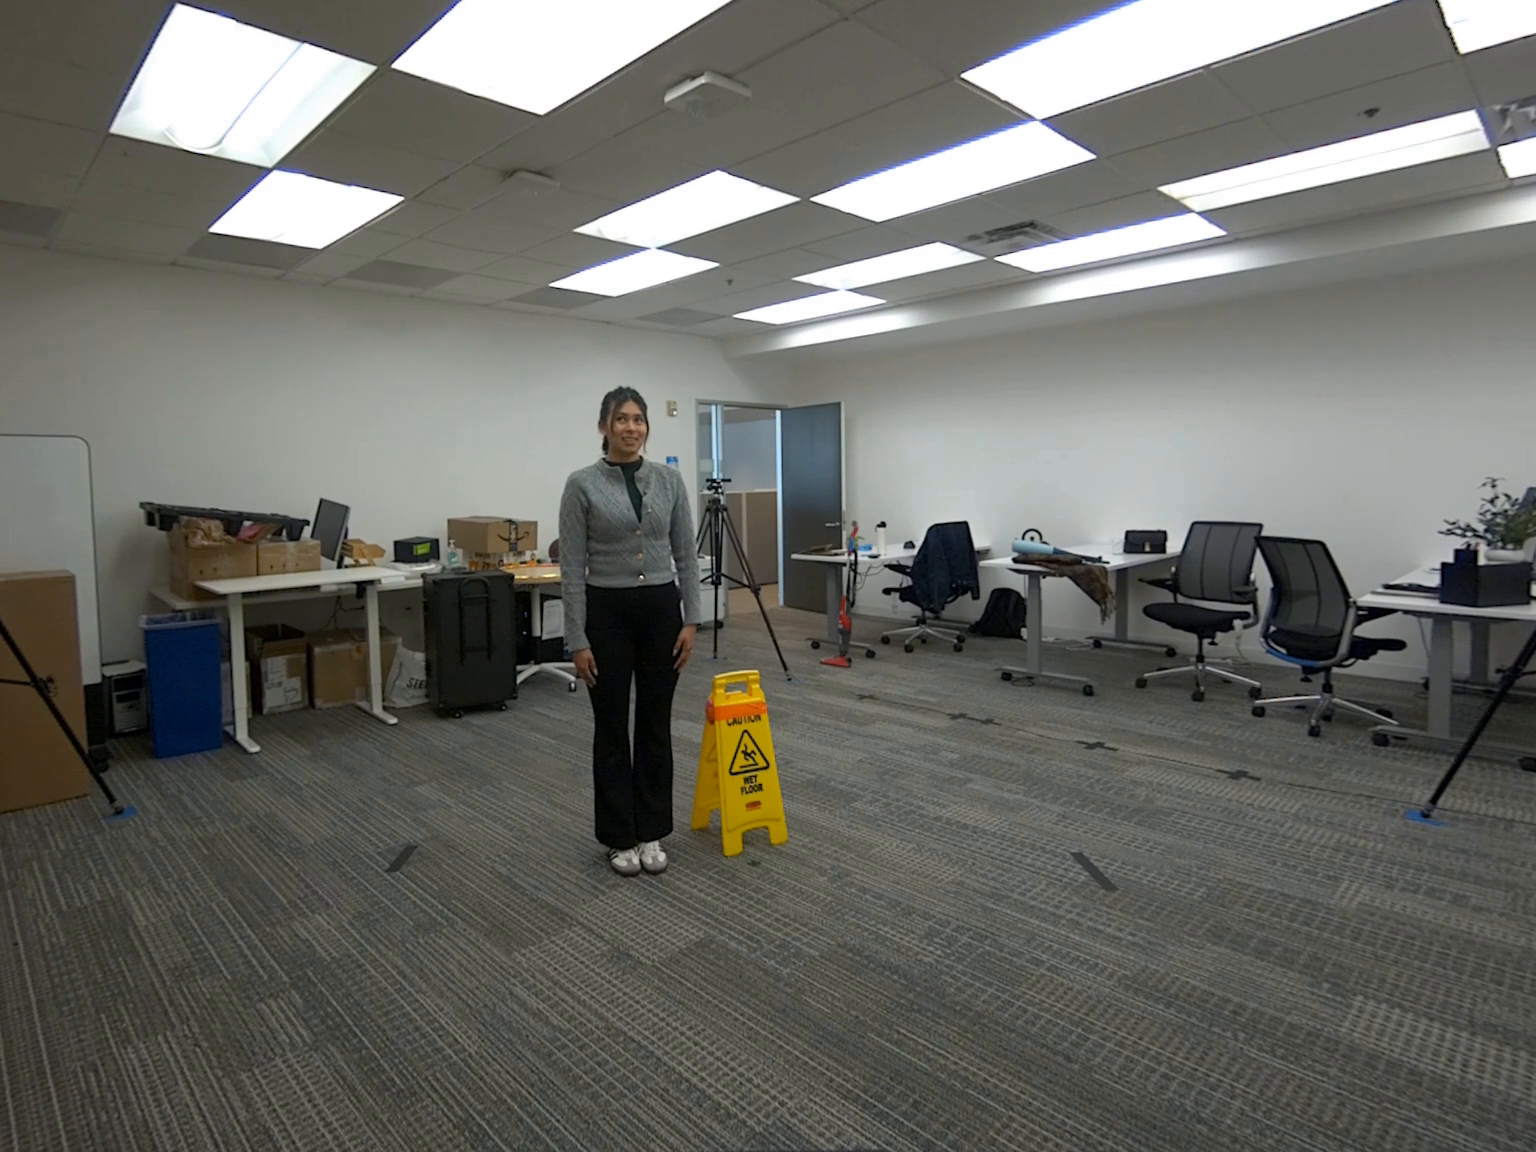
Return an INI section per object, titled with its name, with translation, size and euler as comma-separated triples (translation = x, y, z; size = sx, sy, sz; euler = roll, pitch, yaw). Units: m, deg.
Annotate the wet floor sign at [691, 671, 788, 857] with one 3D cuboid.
[wet floor sign]
translation = -0.117, 0.696, 3.335
size = 0.276, 0.644, 0.298
euler = -3, 5, -30
